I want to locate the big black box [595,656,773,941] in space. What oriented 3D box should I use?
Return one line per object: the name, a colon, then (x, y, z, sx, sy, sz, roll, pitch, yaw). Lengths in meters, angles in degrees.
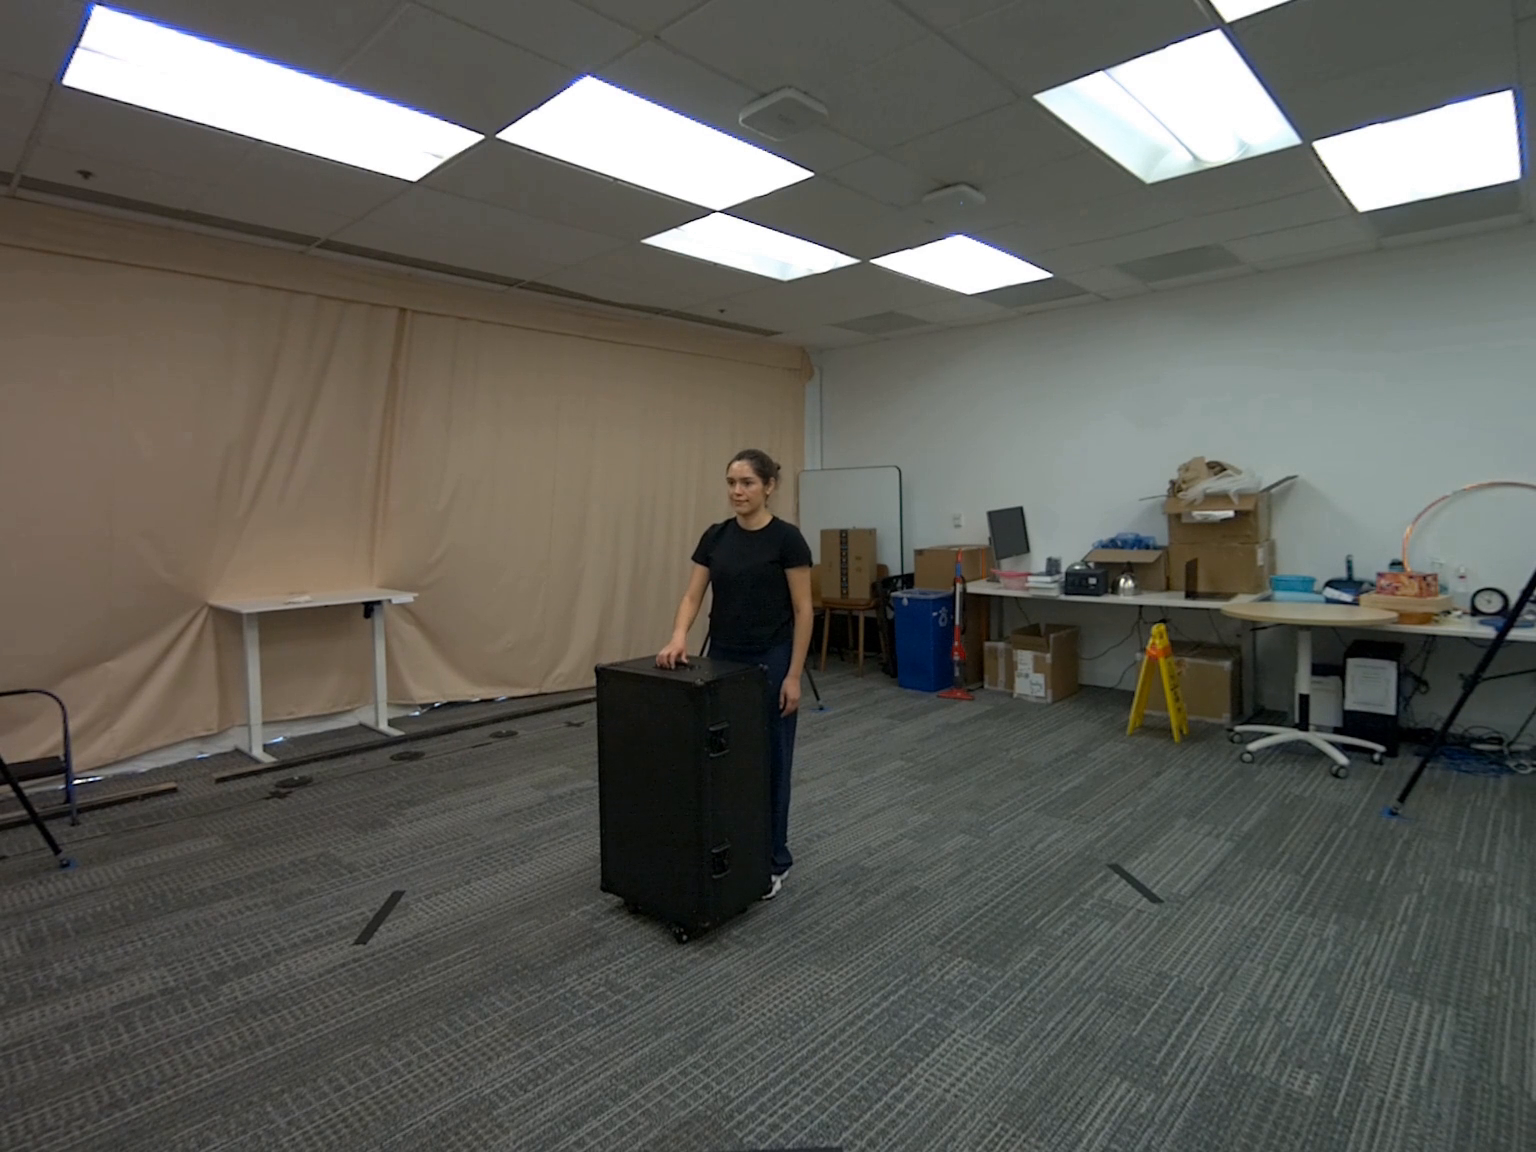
big black box: (-0.273, 0.732, 2.870, 0.538, 0.860, 0.384, 2, 4, 38)
